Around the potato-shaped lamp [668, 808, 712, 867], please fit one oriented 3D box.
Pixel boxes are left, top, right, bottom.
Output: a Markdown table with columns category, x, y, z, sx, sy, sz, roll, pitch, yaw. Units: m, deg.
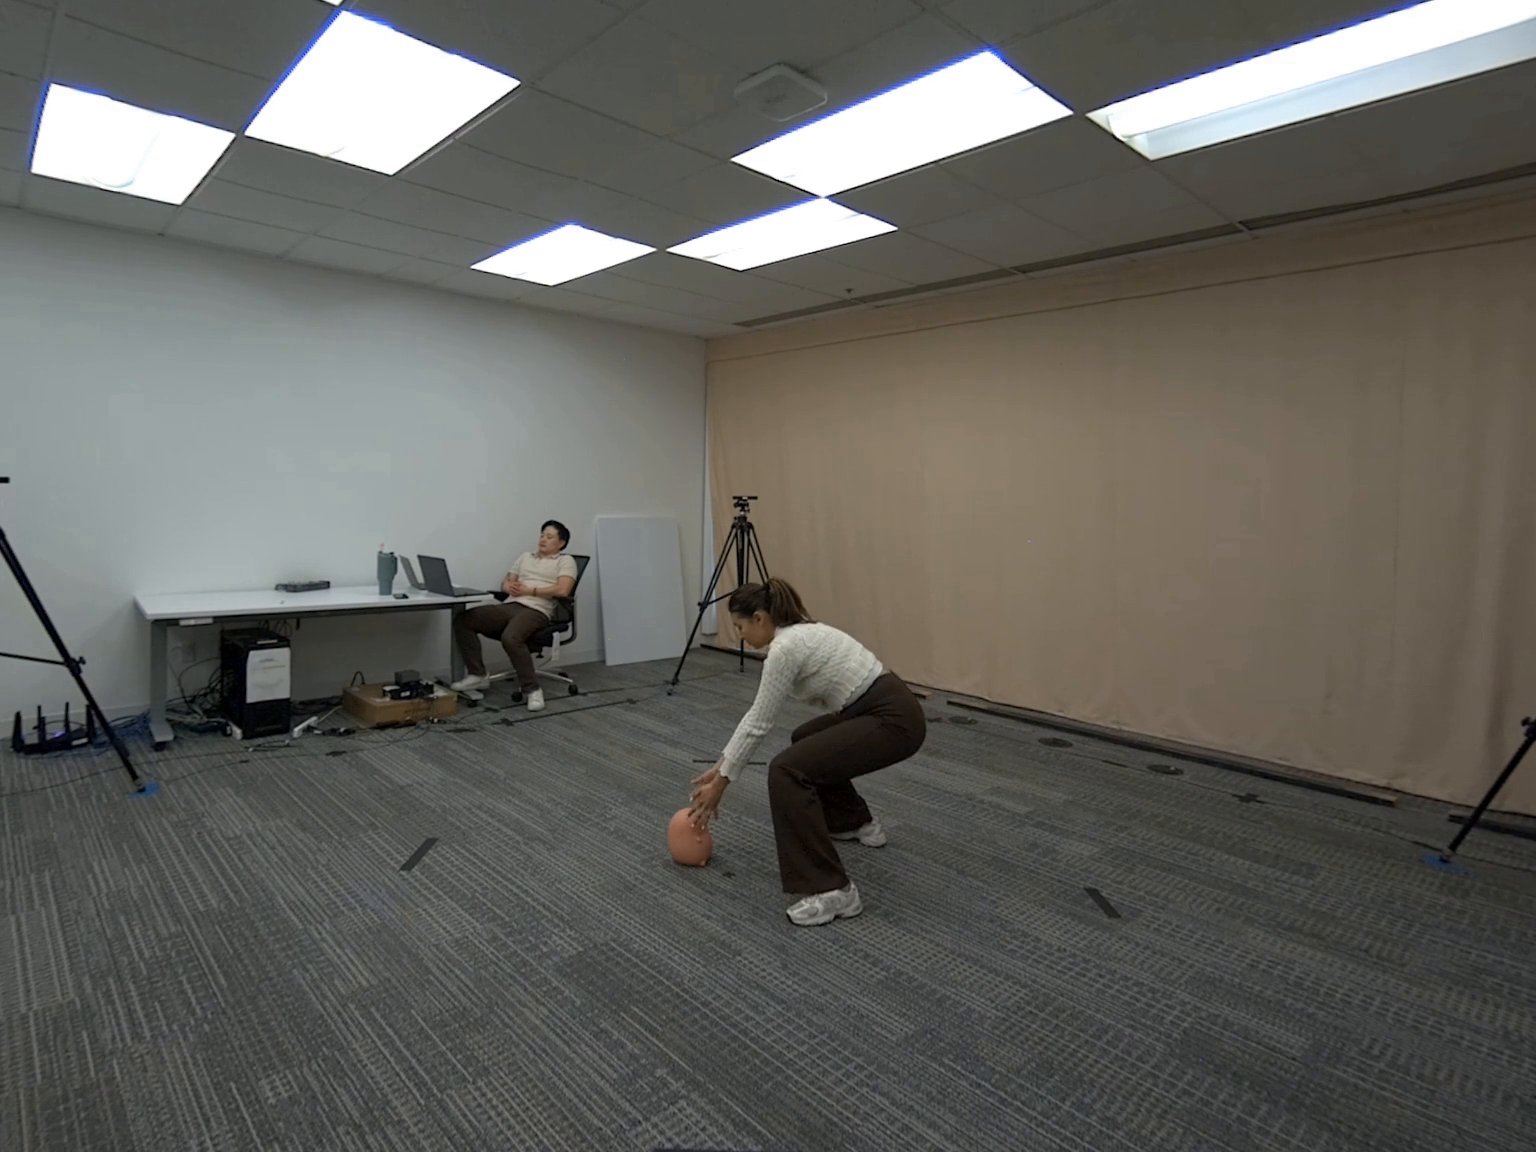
| category | x | y | z | sx | sy | sz | roll | pitch | yaw |
| --- | --- | --- | --- | --- | --- | --- | --- | --- | --- |
| potato-shaped lamp | -0.301 | 0.984 | 3.215 | 0.172 | 0.198 | 0.164 | 4 | 2 | 7 |
